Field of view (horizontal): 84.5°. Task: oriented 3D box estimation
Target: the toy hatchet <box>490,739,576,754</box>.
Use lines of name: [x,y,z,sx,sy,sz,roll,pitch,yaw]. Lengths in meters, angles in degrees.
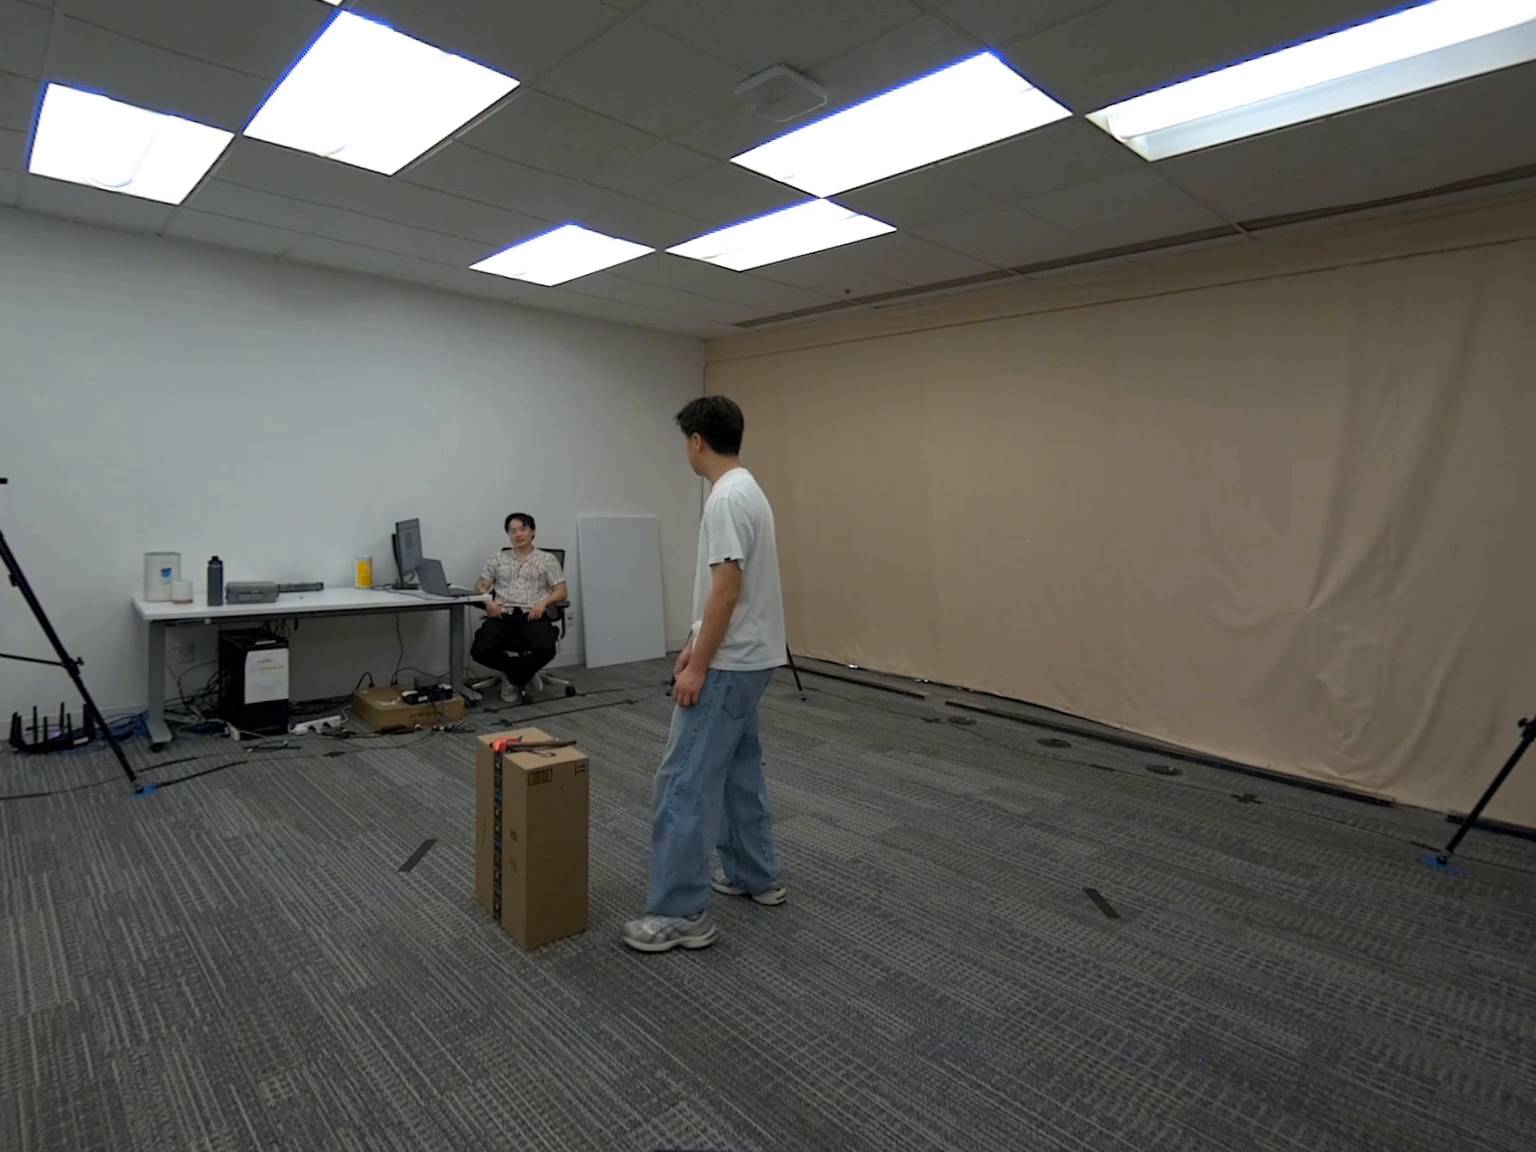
toy hatchet: [-0.775,0.542,2.768,0.265,0.029,0.134,-1,2,-28]
